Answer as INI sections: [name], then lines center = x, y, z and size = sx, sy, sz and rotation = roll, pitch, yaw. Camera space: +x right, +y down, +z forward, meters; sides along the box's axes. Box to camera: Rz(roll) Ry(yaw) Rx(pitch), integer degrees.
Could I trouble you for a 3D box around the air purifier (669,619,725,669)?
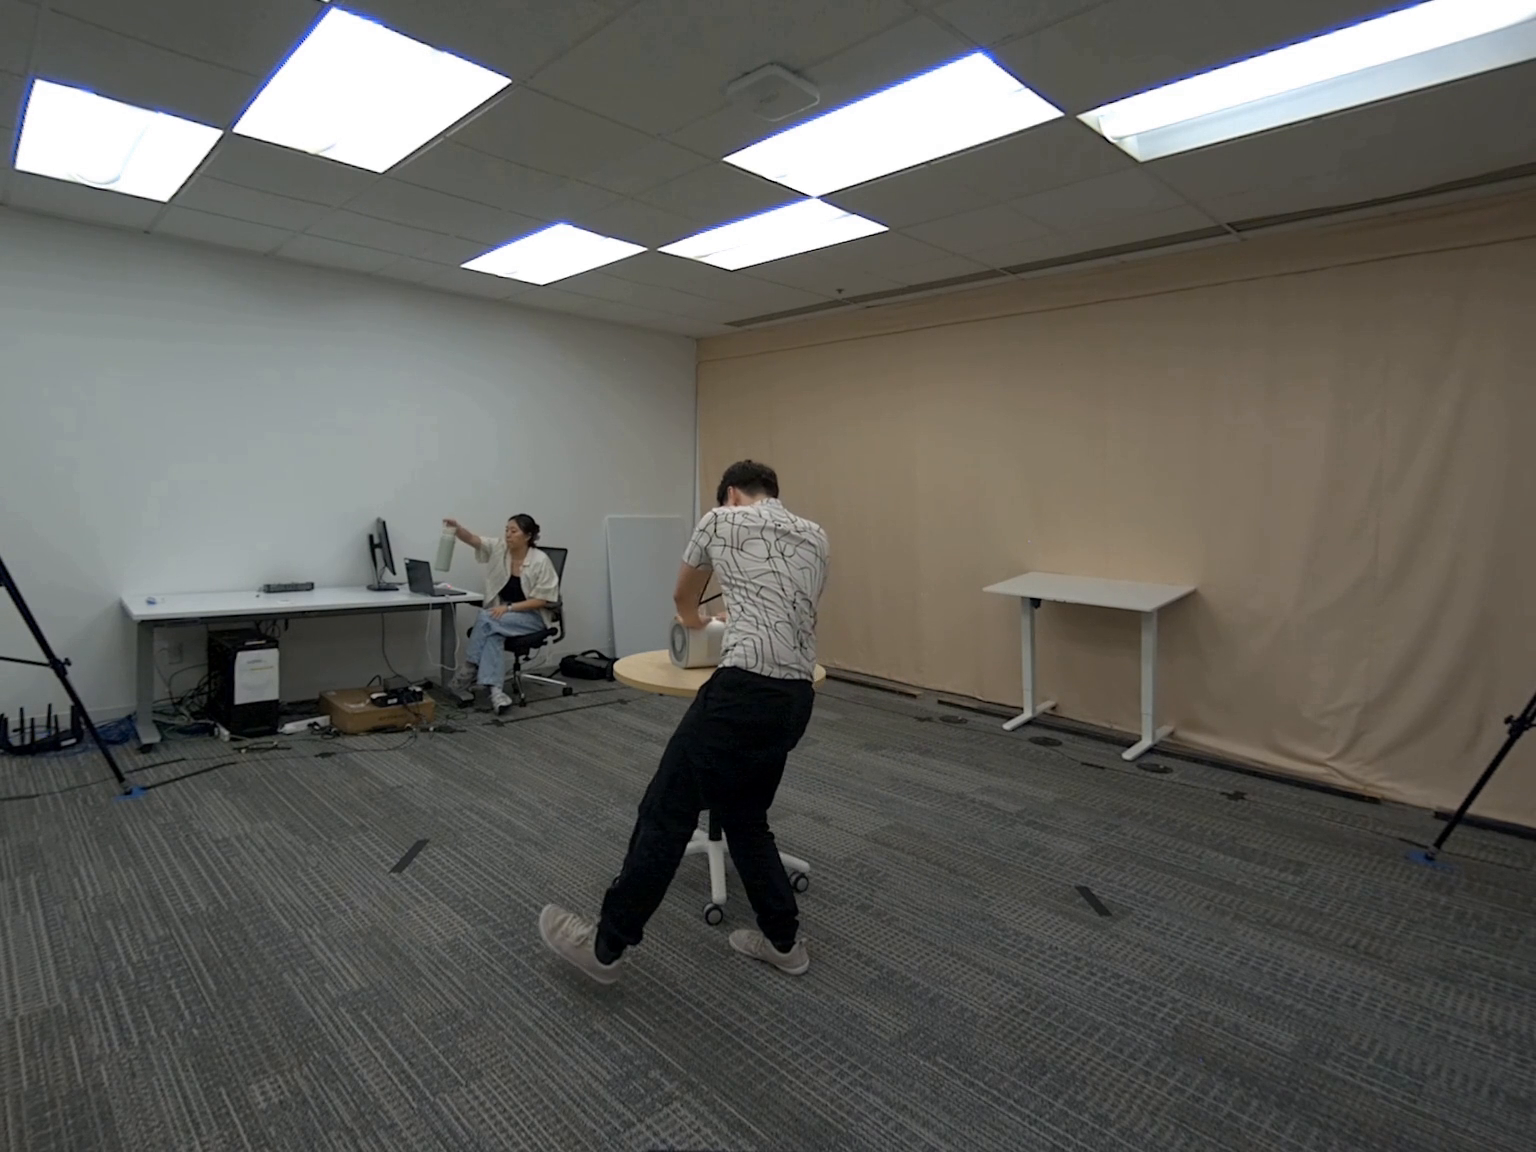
[air purifier]
center = -0.218, 0.237, 3.089
size = 0.260, 0.171, 0.175
rotation = -1, 7, -30
